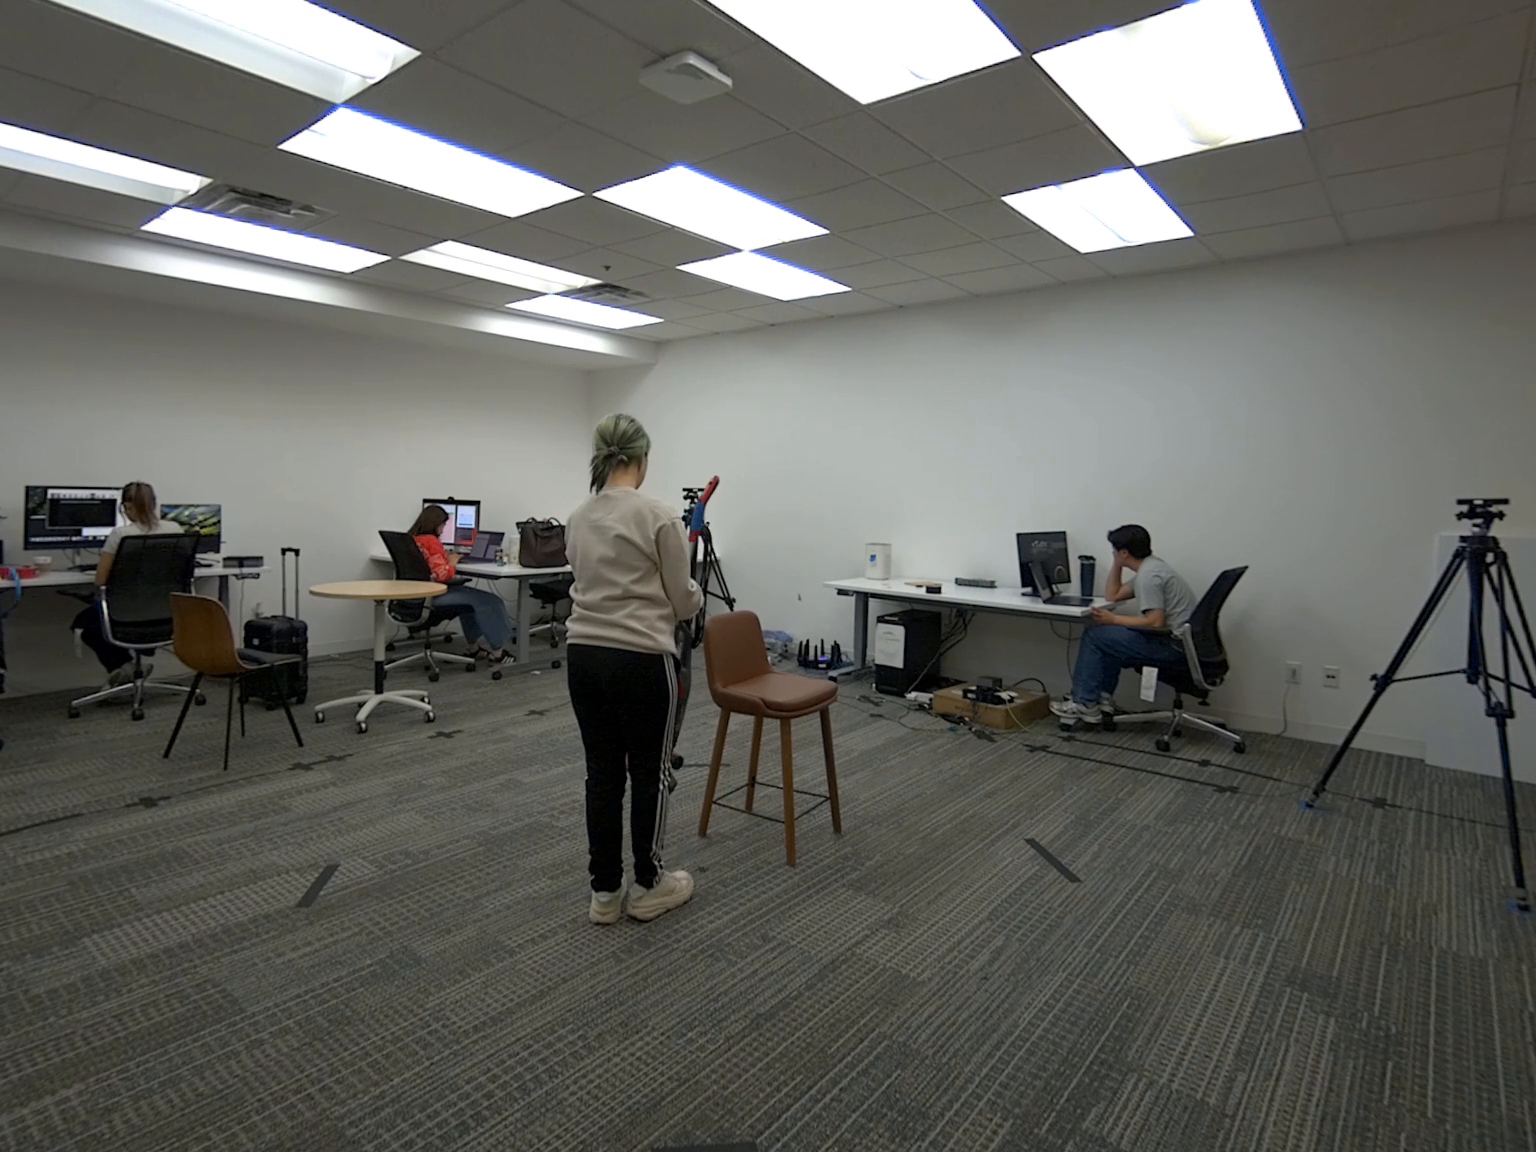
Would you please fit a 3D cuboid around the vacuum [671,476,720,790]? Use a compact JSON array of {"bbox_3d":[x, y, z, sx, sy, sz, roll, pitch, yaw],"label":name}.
[{"bbox_3d":[-0.296,0.175,3.001,0.262,1.047,0.139,14,3,34],"label":"vacuum"}]
